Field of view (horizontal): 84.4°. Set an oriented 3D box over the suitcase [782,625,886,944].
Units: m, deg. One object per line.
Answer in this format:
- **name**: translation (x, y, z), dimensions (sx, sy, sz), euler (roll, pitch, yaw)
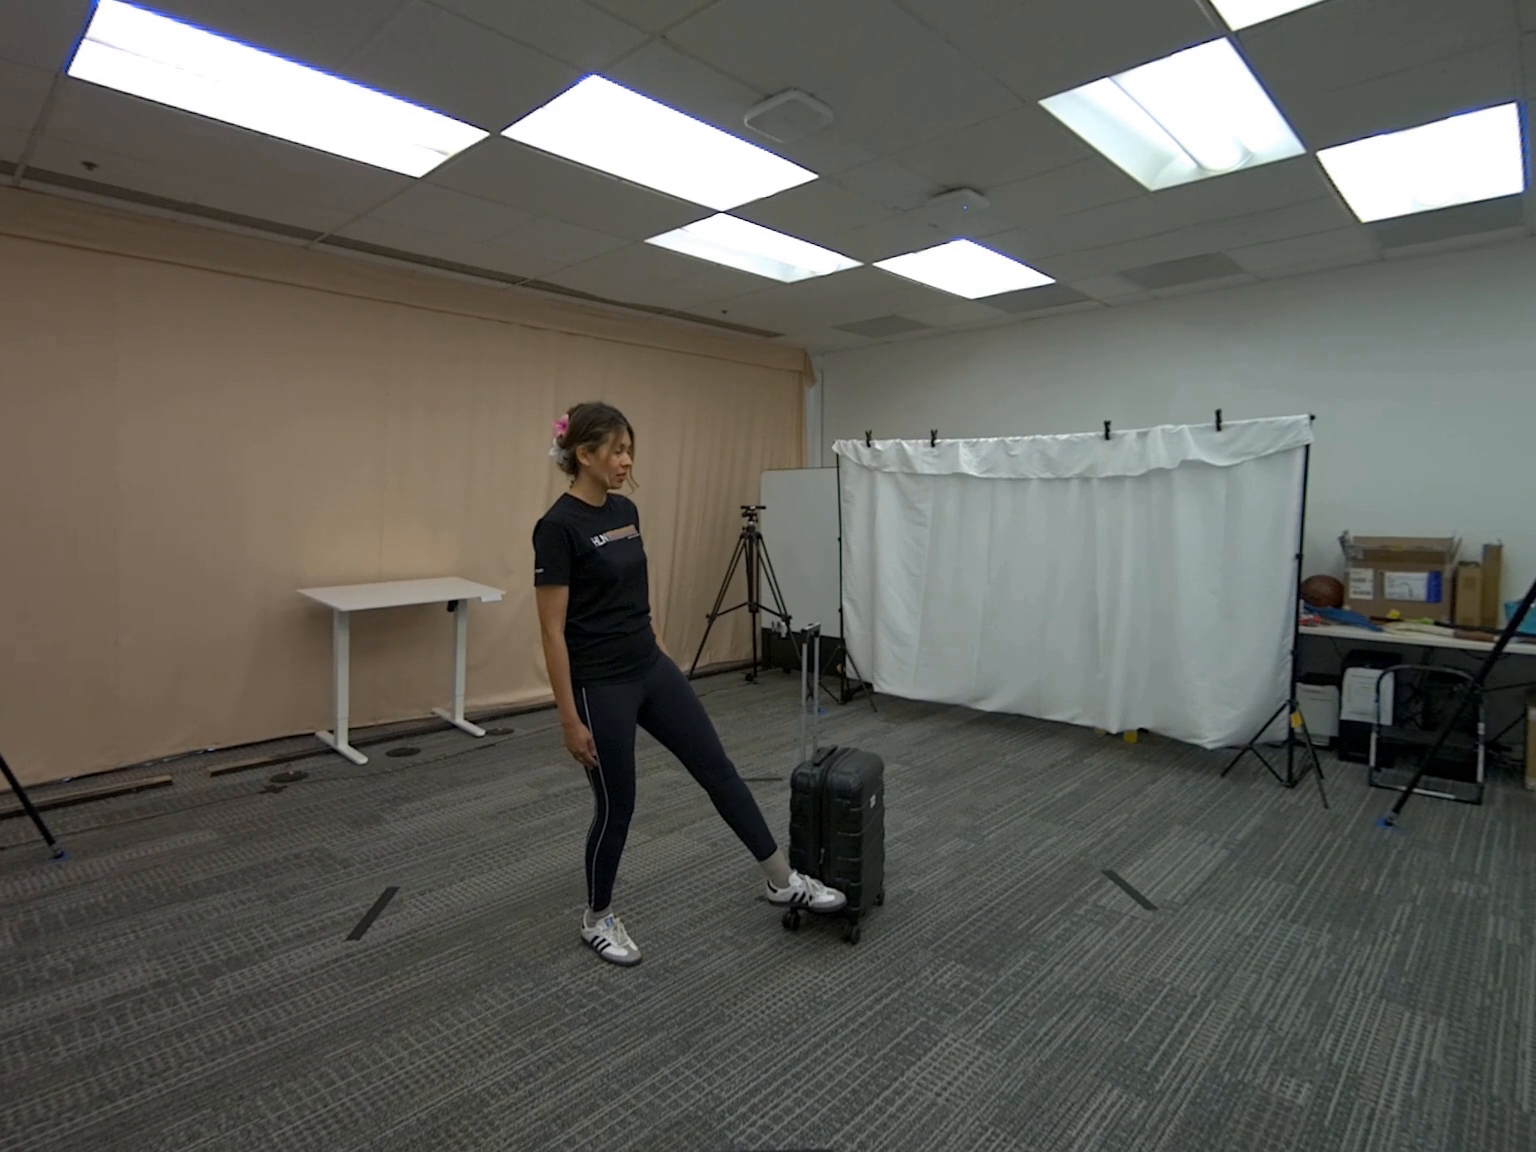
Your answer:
- **suitcase**: translation (0.247, 0.680, 2.857), dimensions (0.263, 0.977, 0.376), euler (2, 3, 22)
